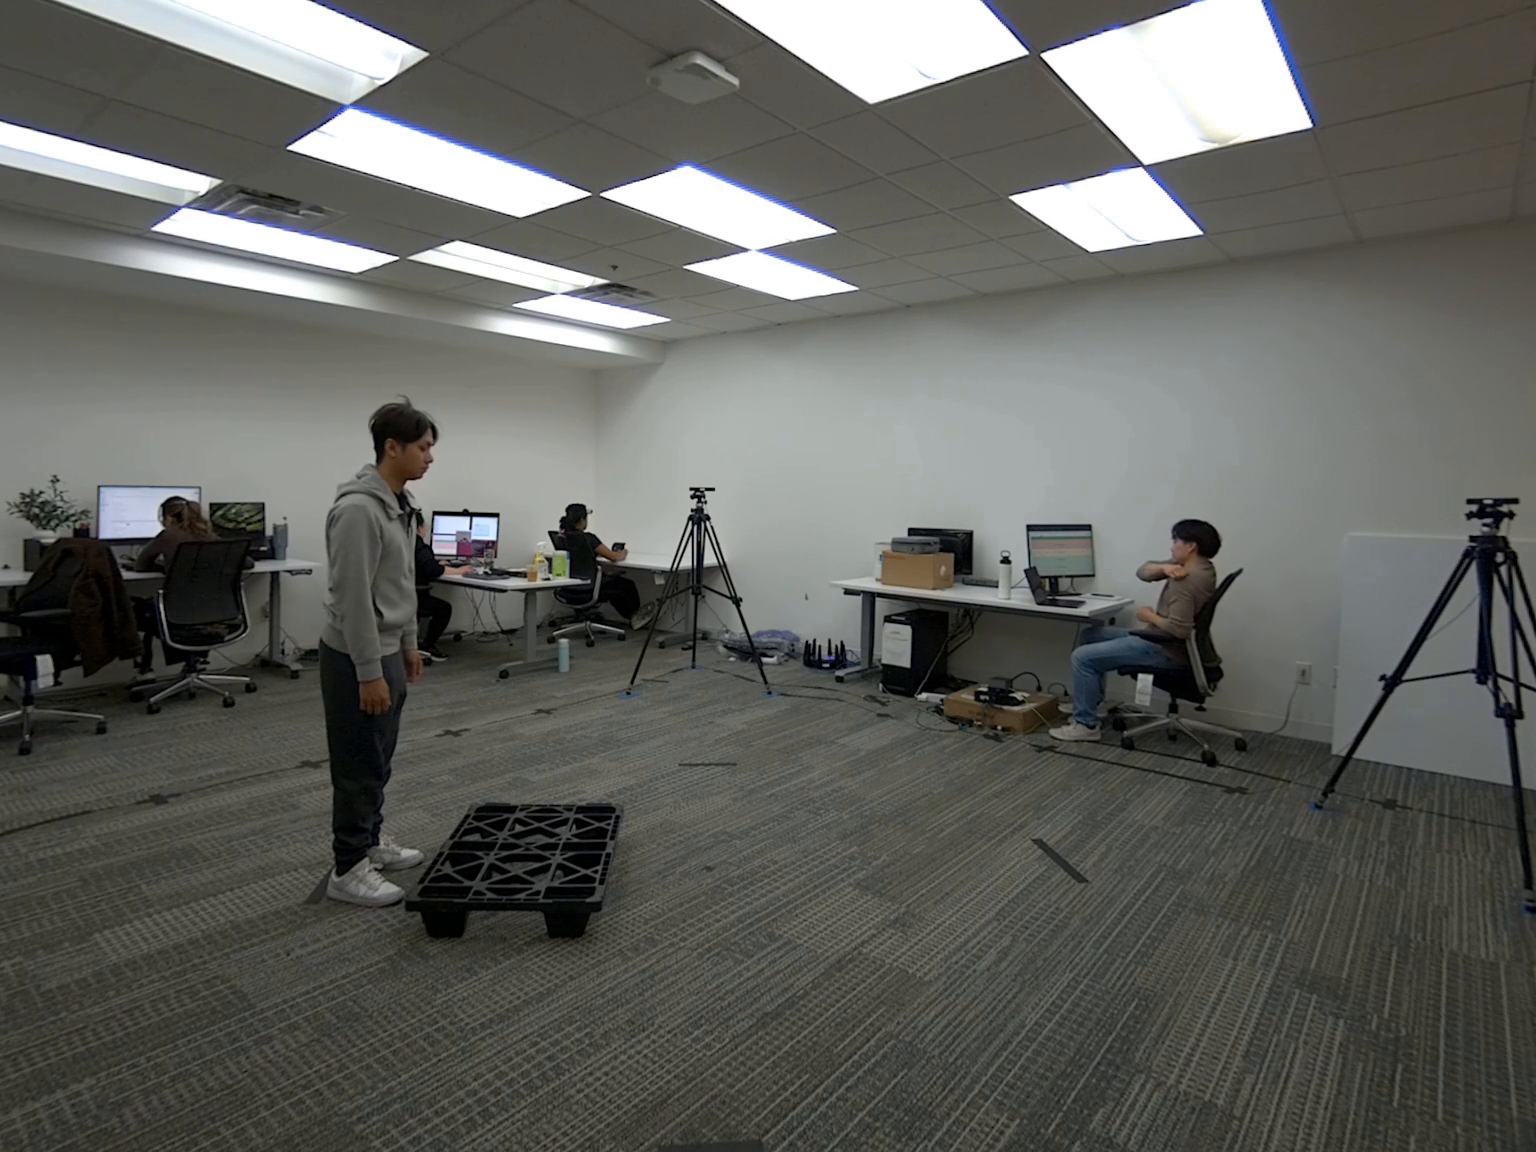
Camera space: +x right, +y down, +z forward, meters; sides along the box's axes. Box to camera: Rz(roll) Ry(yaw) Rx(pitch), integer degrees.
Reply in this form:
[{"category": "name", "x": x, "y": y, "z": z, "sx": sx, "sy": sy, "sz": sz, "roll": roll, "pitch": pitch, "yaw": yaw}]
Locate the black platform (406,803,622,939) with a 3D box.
[{"category": "black platform", "x": -0.843, "y": 1.000, "z": 2.970, "sx": 0.603, "sy": 0.143, "sz": 0.811, "roll": 1, "pitch": 6, "yaw": -4}]
